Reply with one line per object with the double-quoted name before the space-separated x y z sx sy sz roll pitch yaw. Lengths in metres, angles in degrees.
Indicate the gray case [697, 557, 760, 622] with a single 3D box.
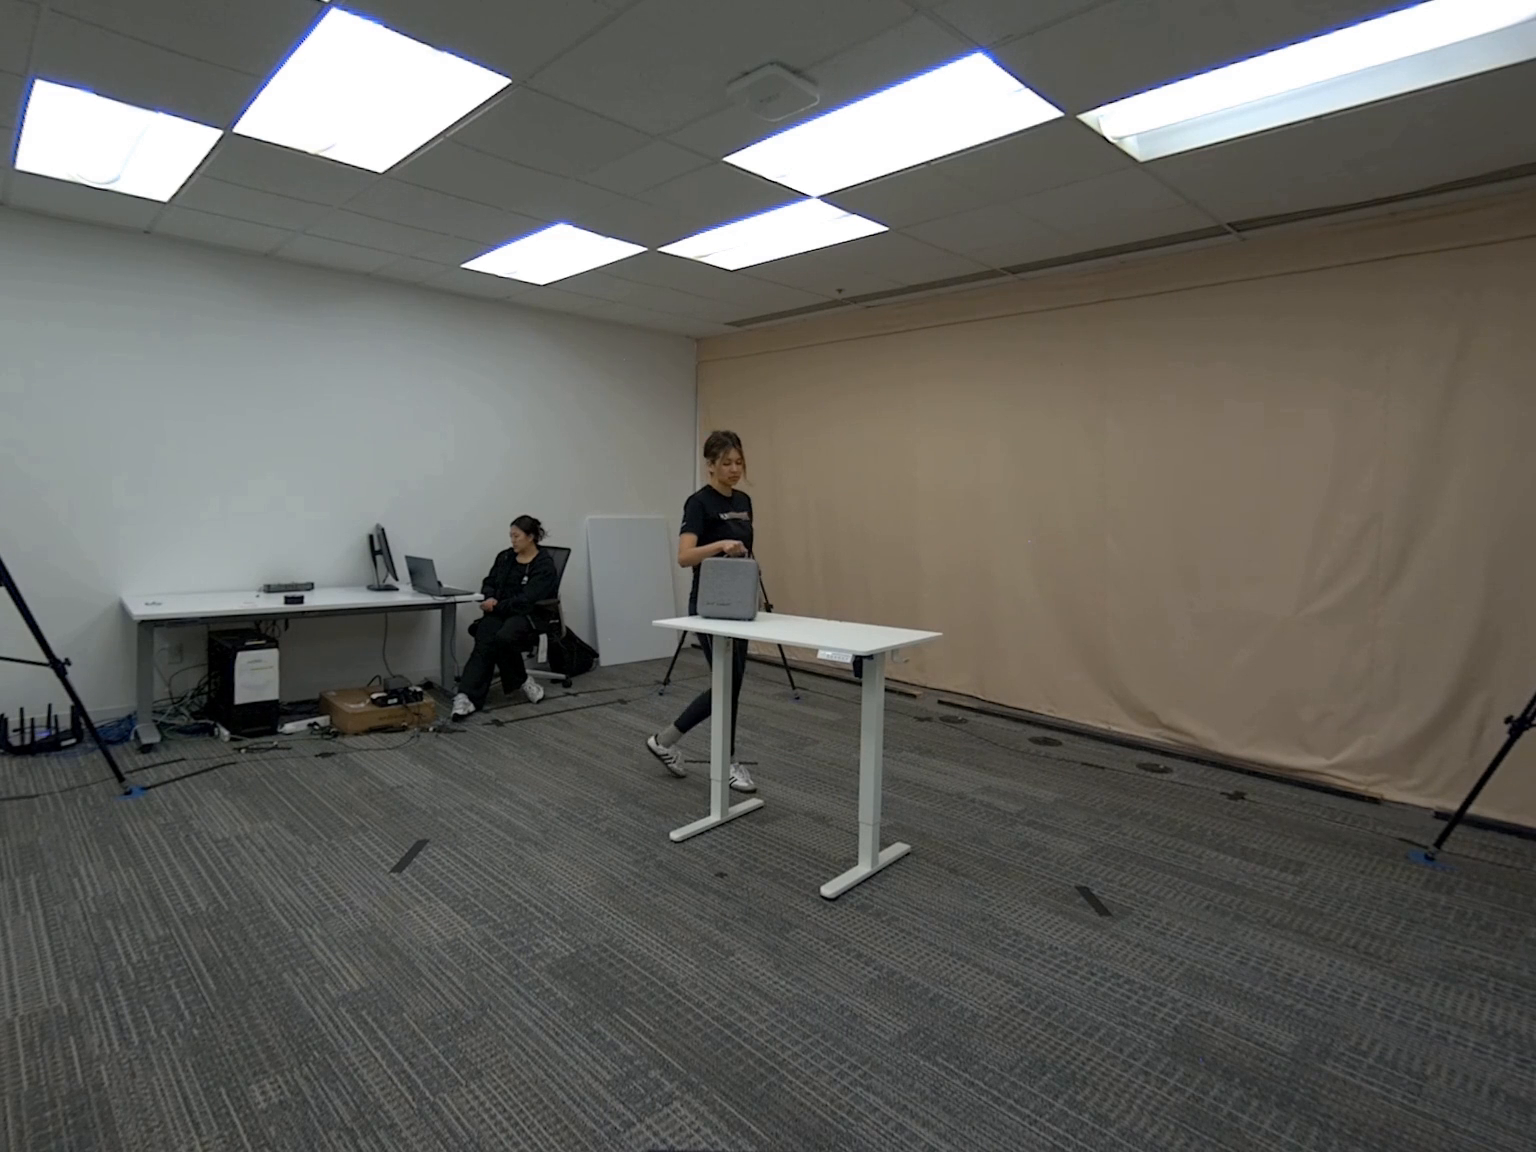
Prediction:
"gray case" -0.185 0.045 3.578 0.260 0.261 0.102 5 -5 16
